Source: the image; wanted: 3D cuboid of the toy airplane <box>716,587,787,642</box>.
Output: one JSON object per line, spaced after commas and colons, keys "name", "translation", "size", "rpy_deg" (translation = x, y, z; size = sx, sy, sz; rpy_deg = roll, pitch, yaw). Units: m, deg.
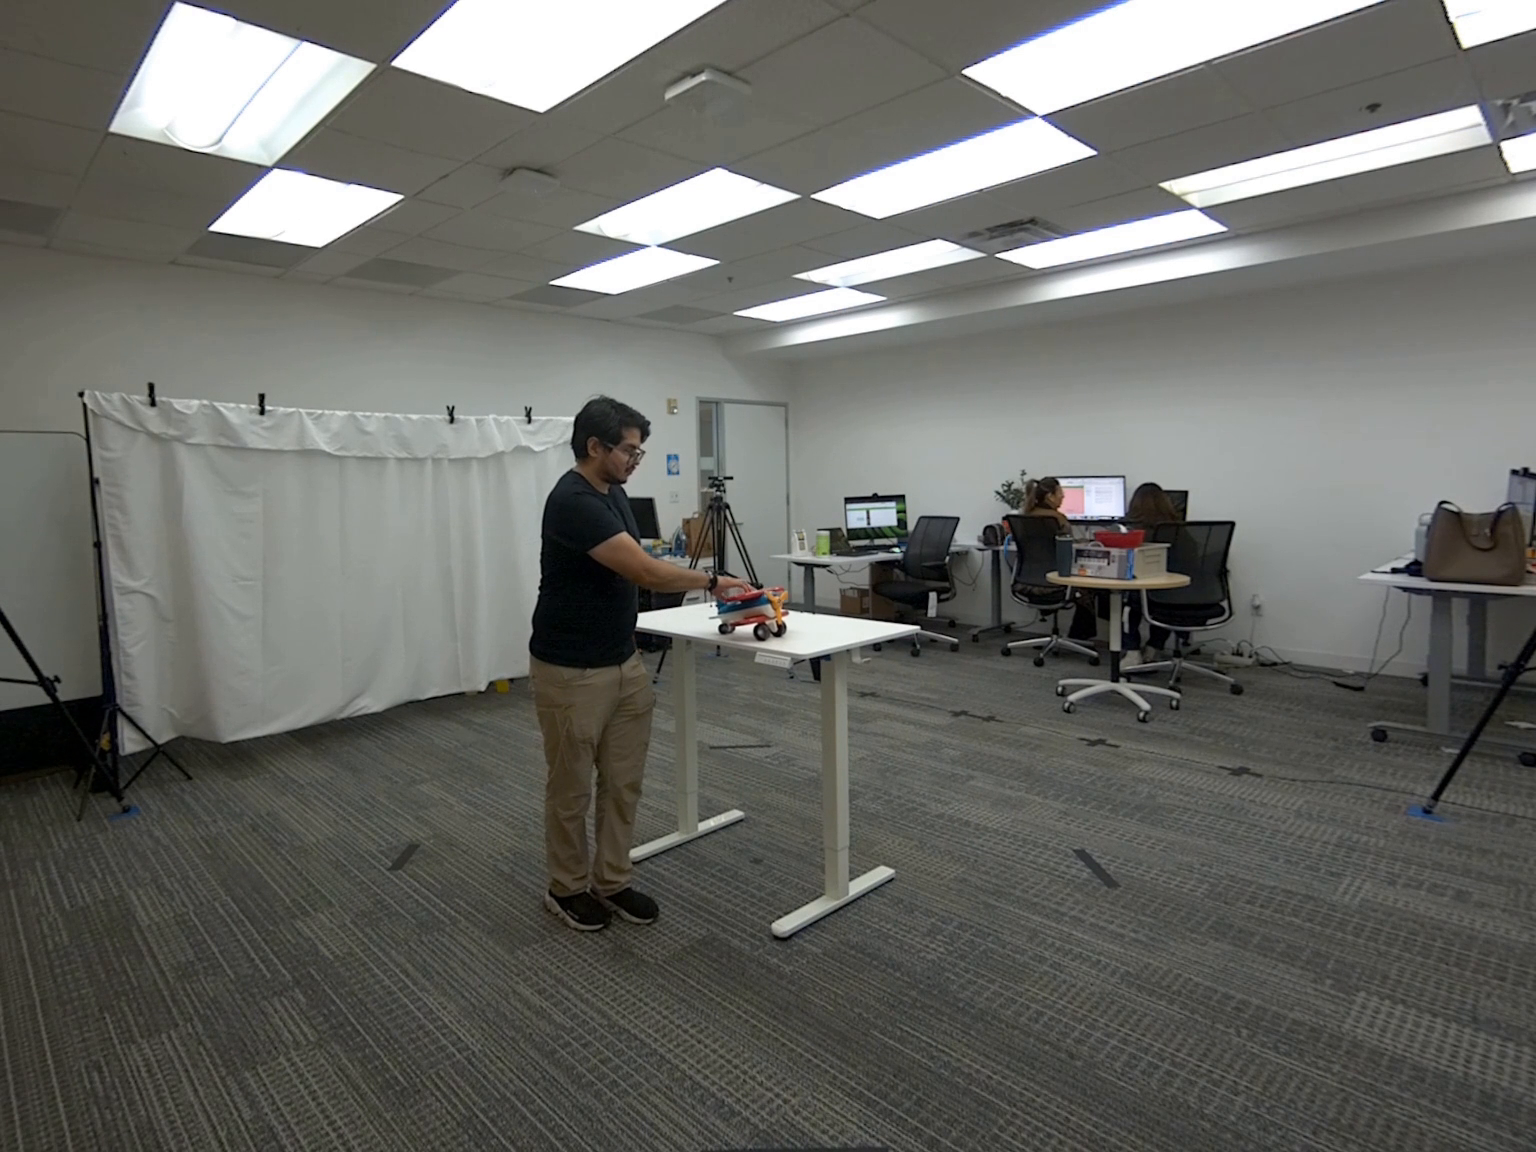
{"name": "toy airplane", "translation": [-0.072, 0.118, 2.724], "size": [0.262, 0.156, 0.249], "rpy_deg": [1, 5, 10]}
